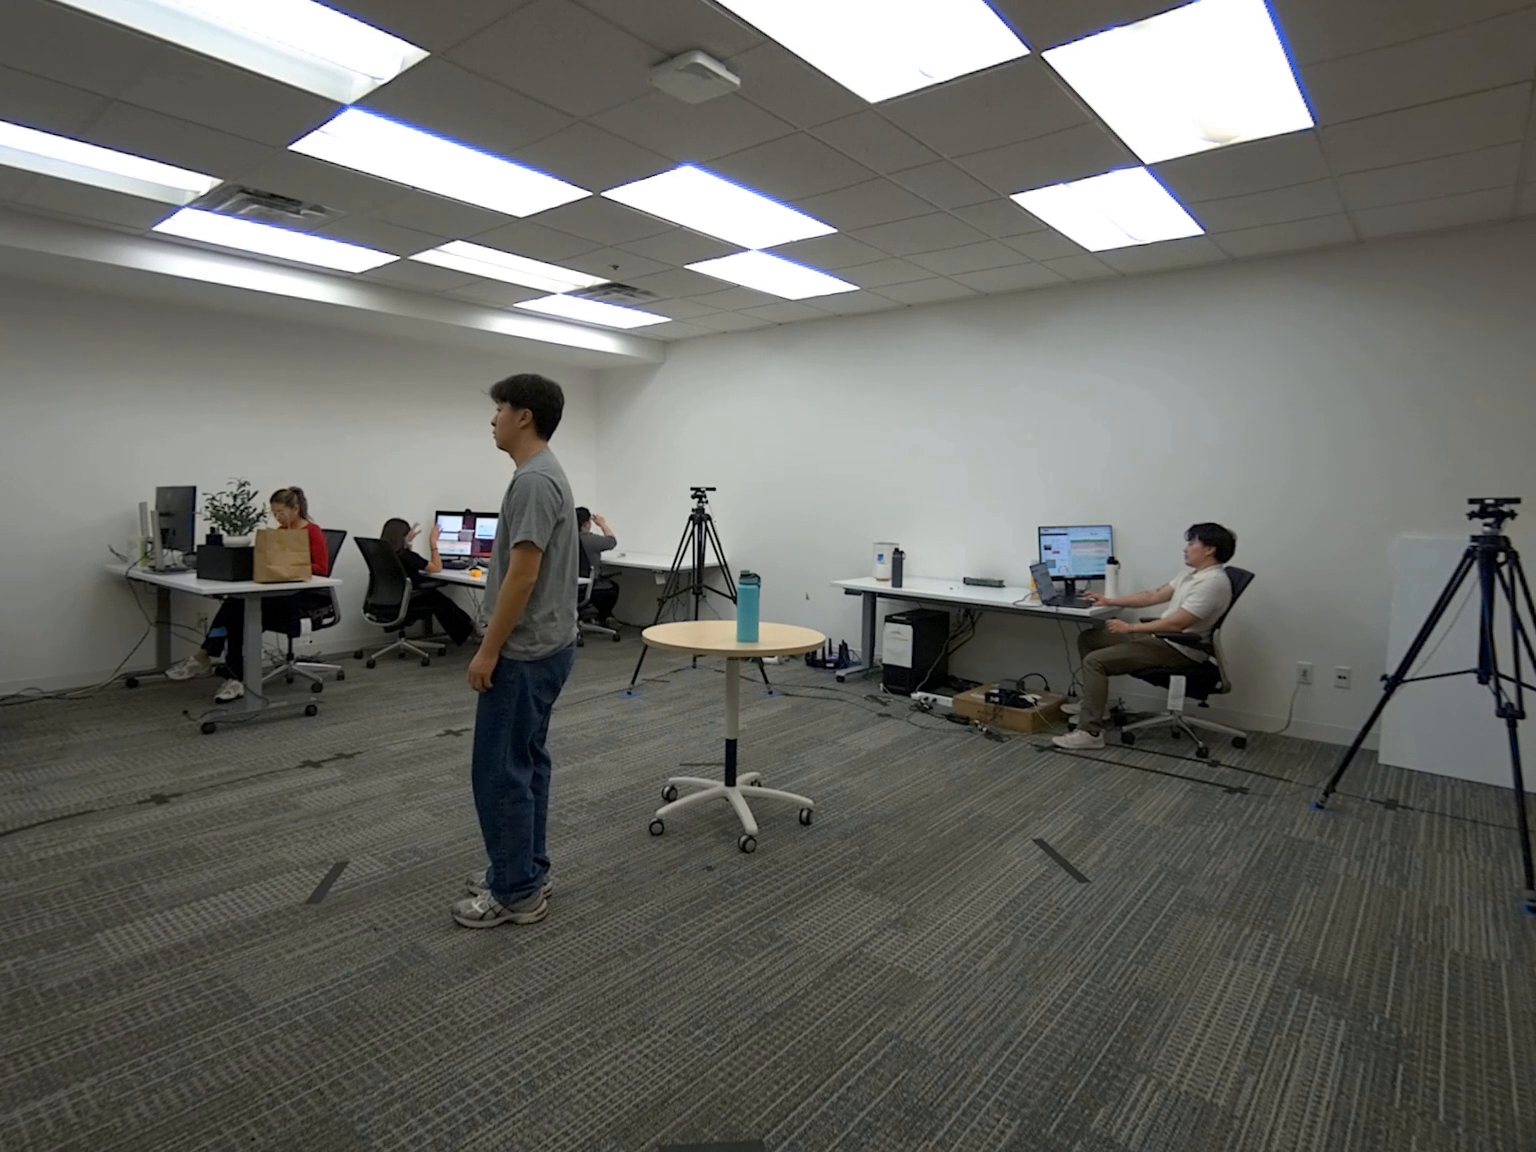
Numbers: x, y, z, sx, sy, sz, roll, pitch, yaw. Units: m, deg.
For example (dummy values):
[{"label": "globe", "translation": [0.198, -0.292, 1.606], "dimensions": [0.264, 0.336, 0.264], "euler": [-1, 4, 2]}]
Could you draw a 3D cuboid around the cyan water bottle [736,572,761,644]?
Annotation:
[{"label": "cyan water bottle", "translation": [-0.085, 0.117, 3.388], "dimensions": [0.092, 0.282, 0.093], "euler": [2, 3, -2]}]
